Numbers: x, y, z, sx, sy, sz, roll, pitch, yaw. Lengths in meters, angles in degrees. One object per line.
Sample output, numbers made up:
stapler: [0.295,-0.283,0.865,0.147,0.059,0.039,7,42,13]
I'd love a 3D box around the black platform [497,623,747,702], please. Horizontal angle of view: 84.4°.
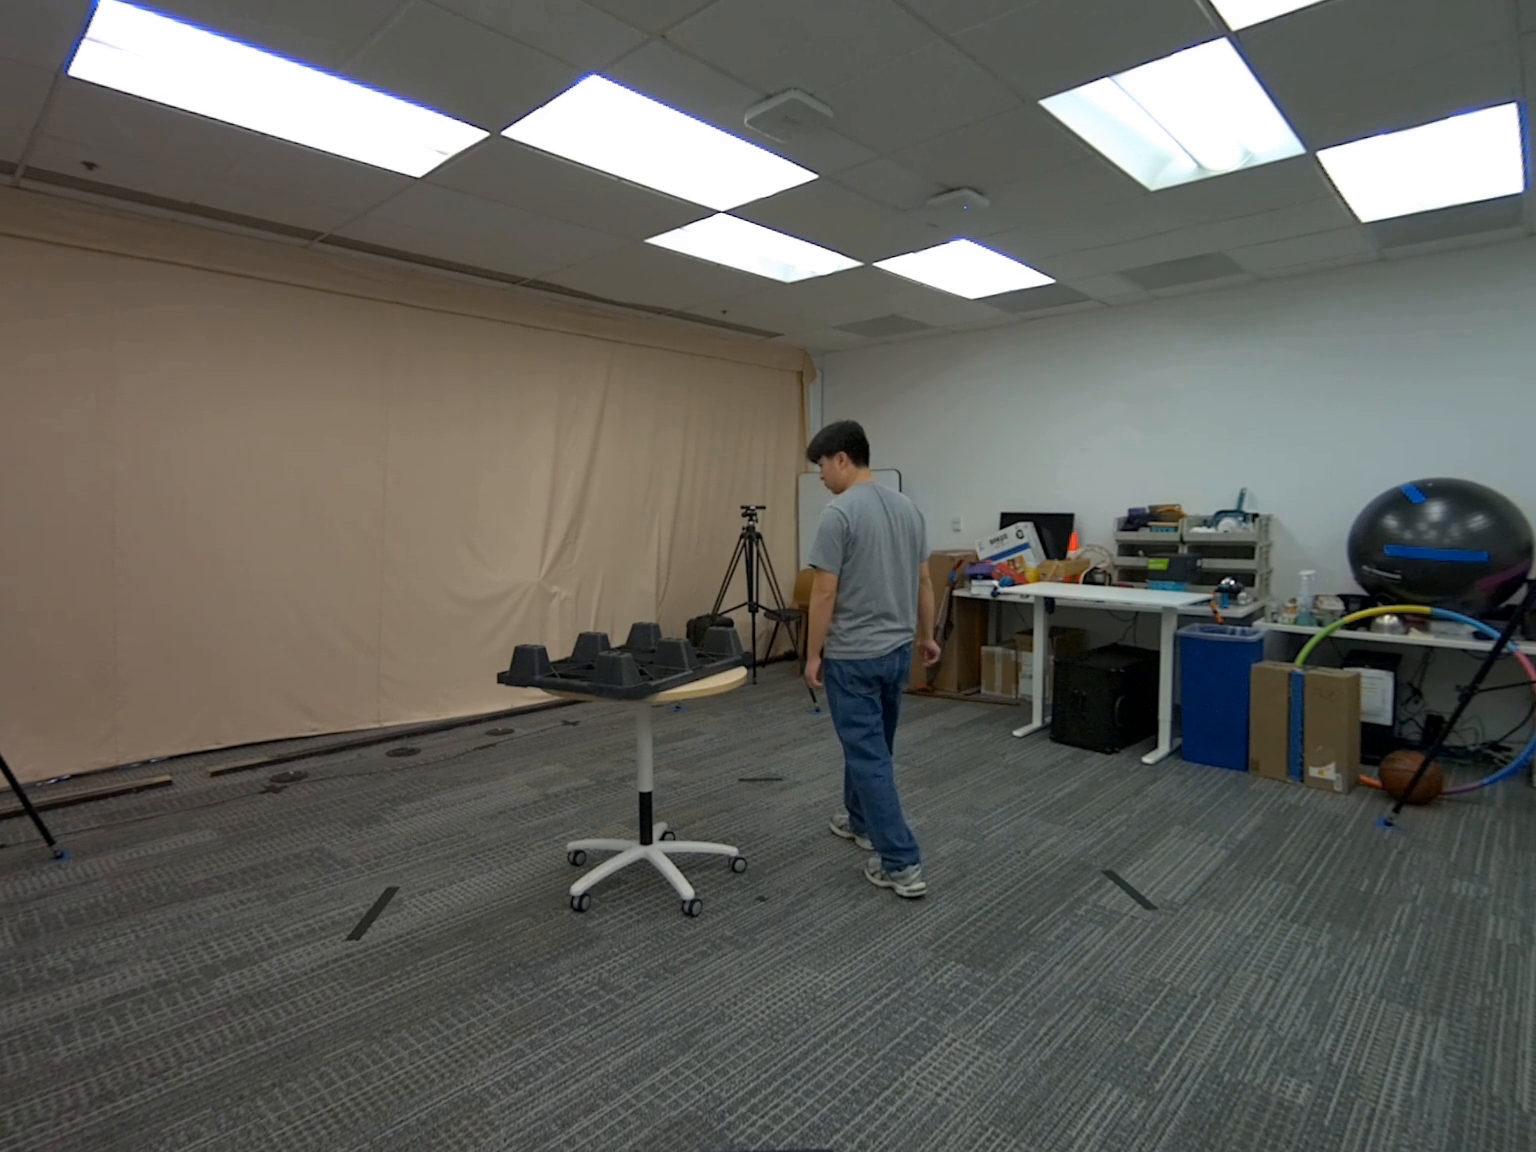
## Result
black platform: [-0.500,0.293,3.091,0.622,0.143,0.785,1,4,29]
